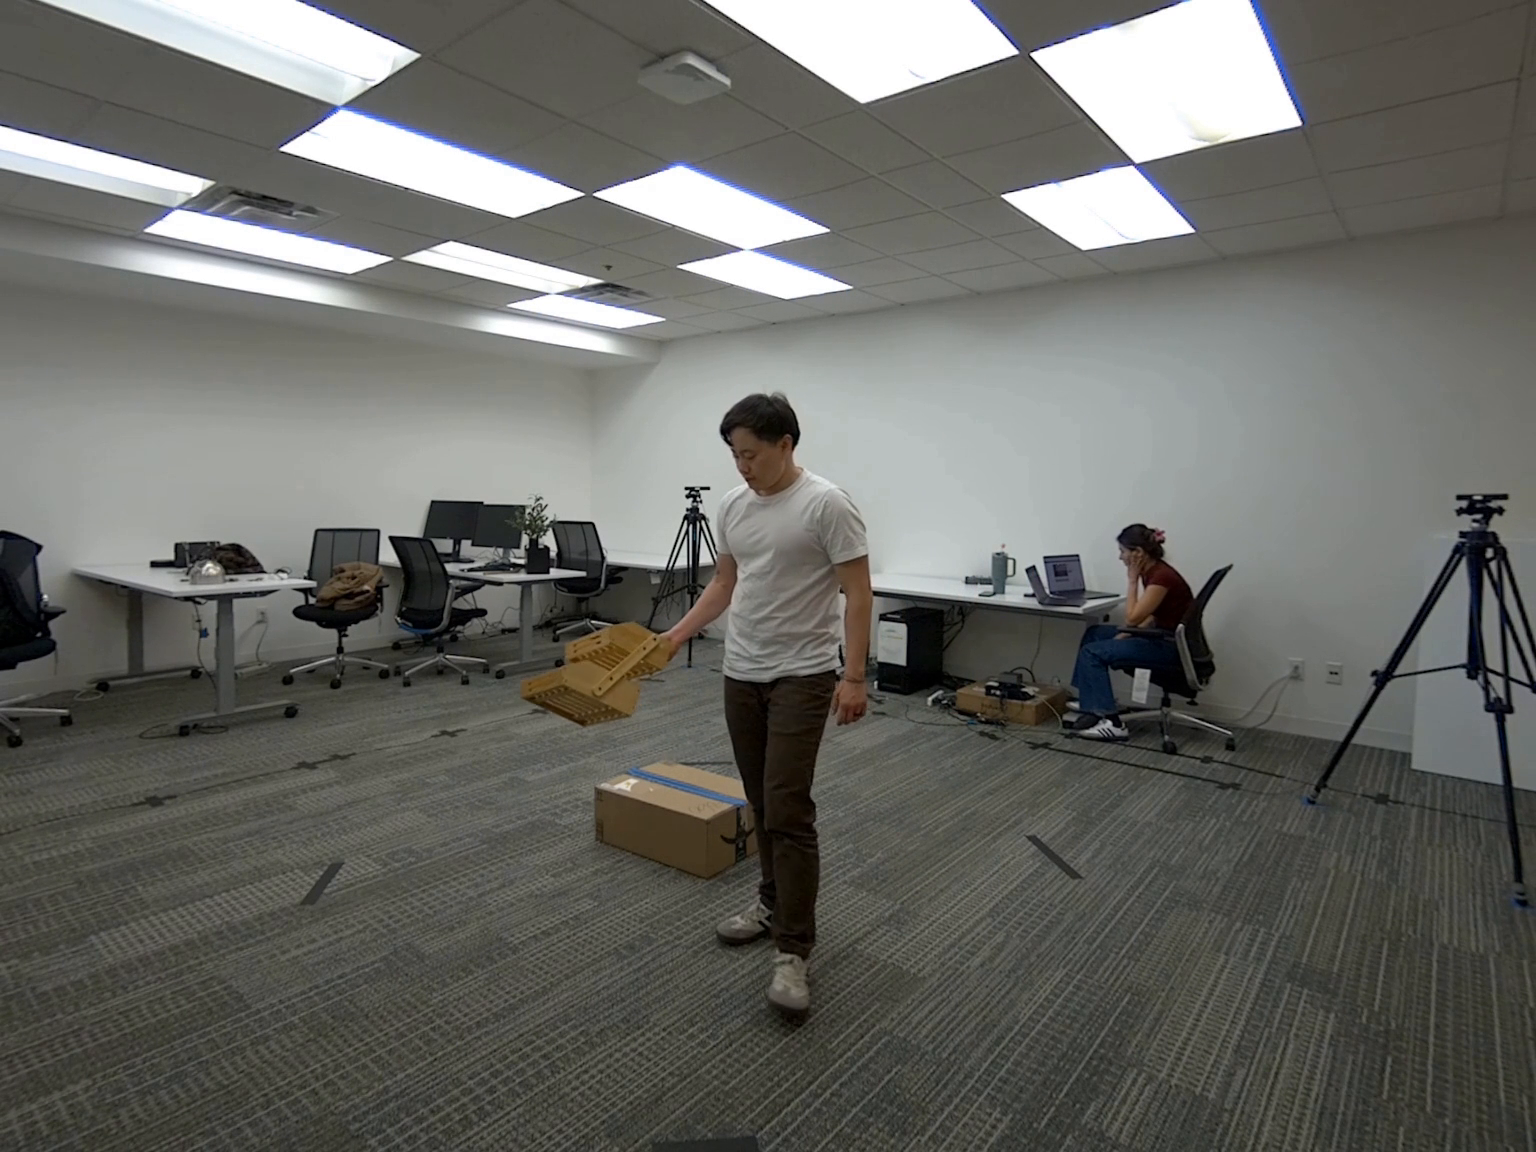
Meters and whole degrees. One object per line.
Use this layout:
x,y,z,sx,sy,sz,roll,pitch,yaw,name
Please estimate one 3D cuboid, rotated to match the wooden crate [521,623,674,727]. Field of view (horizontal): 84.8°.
-0.533,0.277,2.563,0.292,0.277,0.330,32,-32,-26,wooden crate
